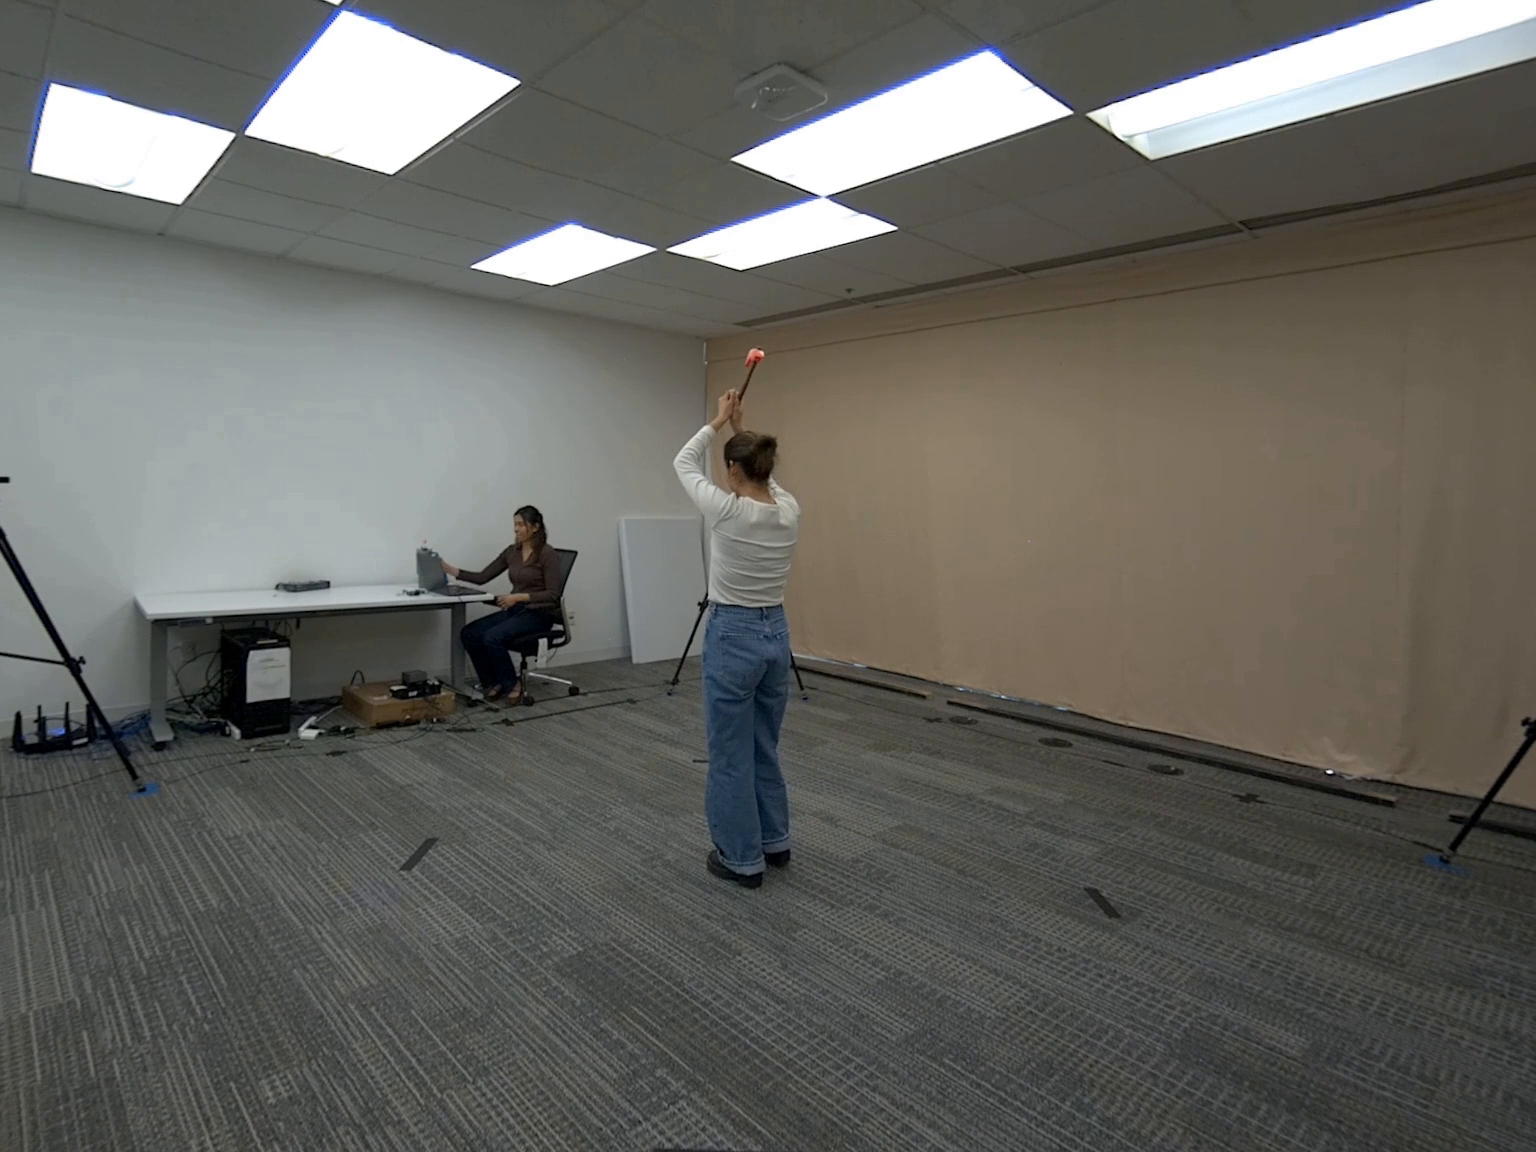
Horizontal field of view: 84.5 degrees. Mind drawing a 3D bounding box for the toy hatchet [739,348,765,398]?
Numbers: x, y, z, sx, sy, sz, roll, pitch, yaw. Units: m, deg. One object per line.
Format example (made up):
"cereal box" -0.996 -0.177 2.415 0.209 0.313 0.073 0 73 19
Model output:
"toy hatchet" -0.098 -0.731 3.112 0.029 0.269 0.135 18 28 -30
